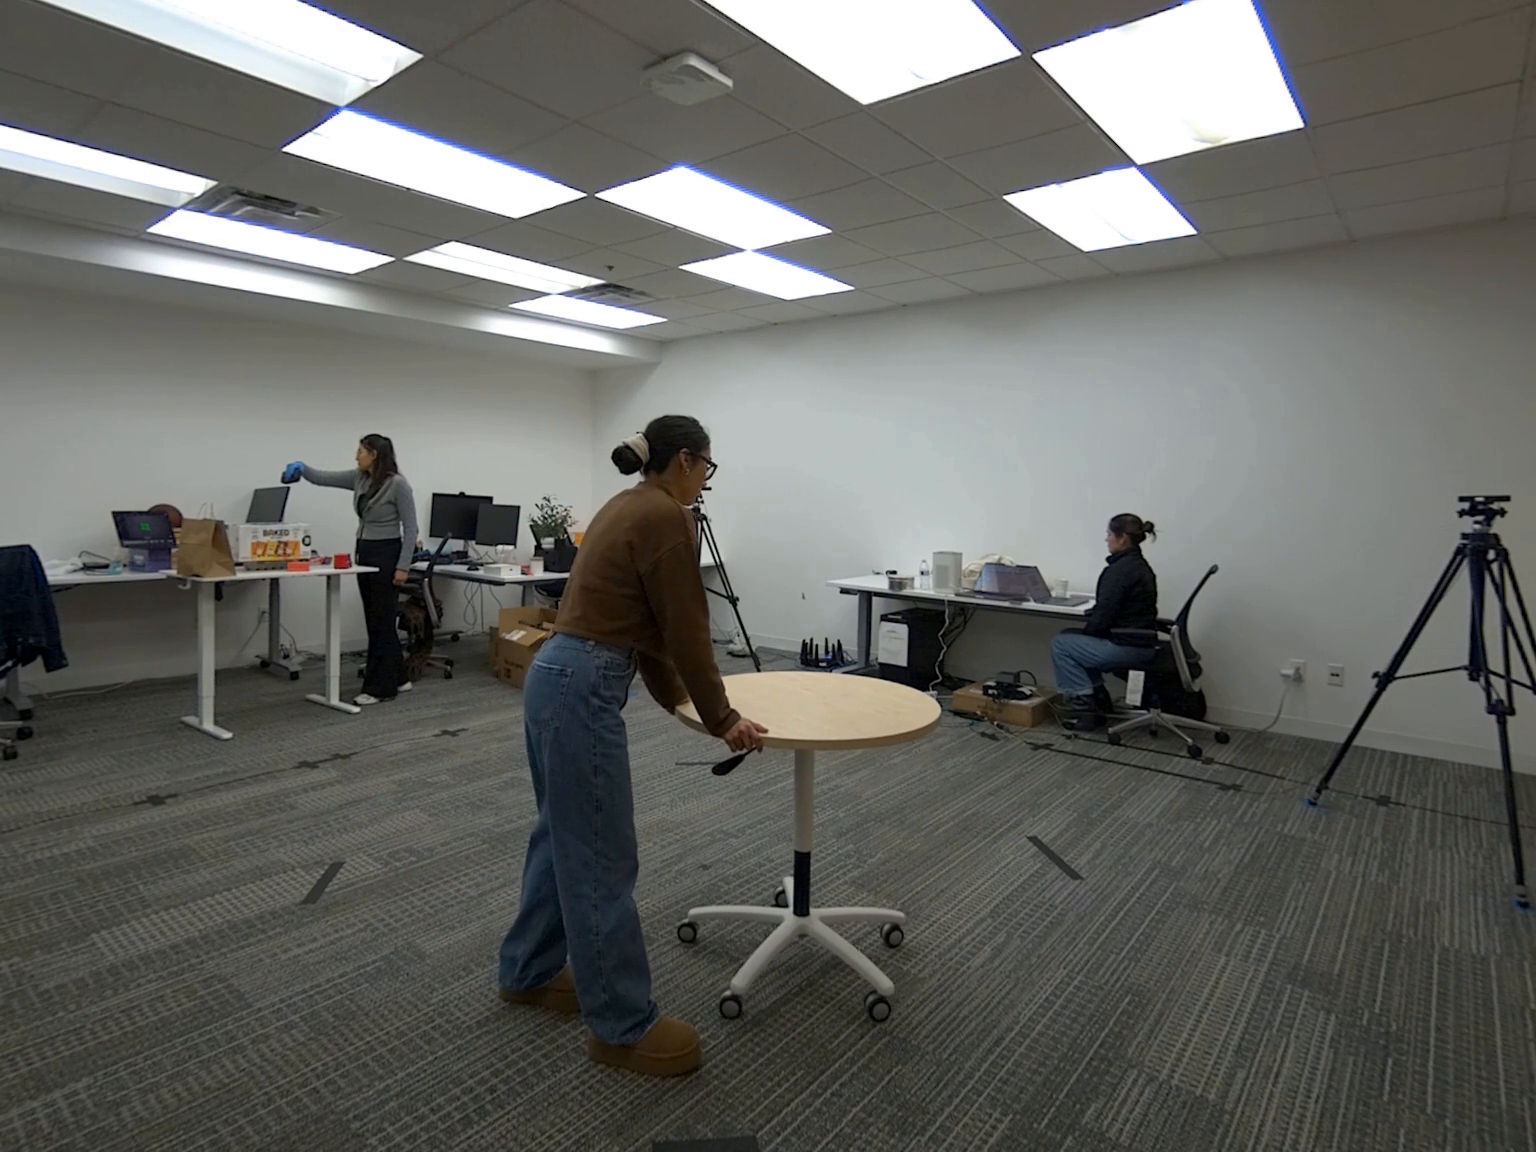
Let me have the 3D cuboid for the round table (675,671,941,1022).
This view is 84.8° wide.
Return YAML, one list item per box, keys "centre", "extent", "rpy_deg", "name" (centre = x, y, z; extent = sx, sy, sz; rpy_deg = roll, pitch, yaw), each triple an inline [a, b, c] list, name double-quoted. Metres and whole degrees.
- centre: [0.089, 0.746, 2.497]
  extent: [0.763, 0.791, 0.768]
  rpy_deg: [1, 4, -2]
  name: "round table"
